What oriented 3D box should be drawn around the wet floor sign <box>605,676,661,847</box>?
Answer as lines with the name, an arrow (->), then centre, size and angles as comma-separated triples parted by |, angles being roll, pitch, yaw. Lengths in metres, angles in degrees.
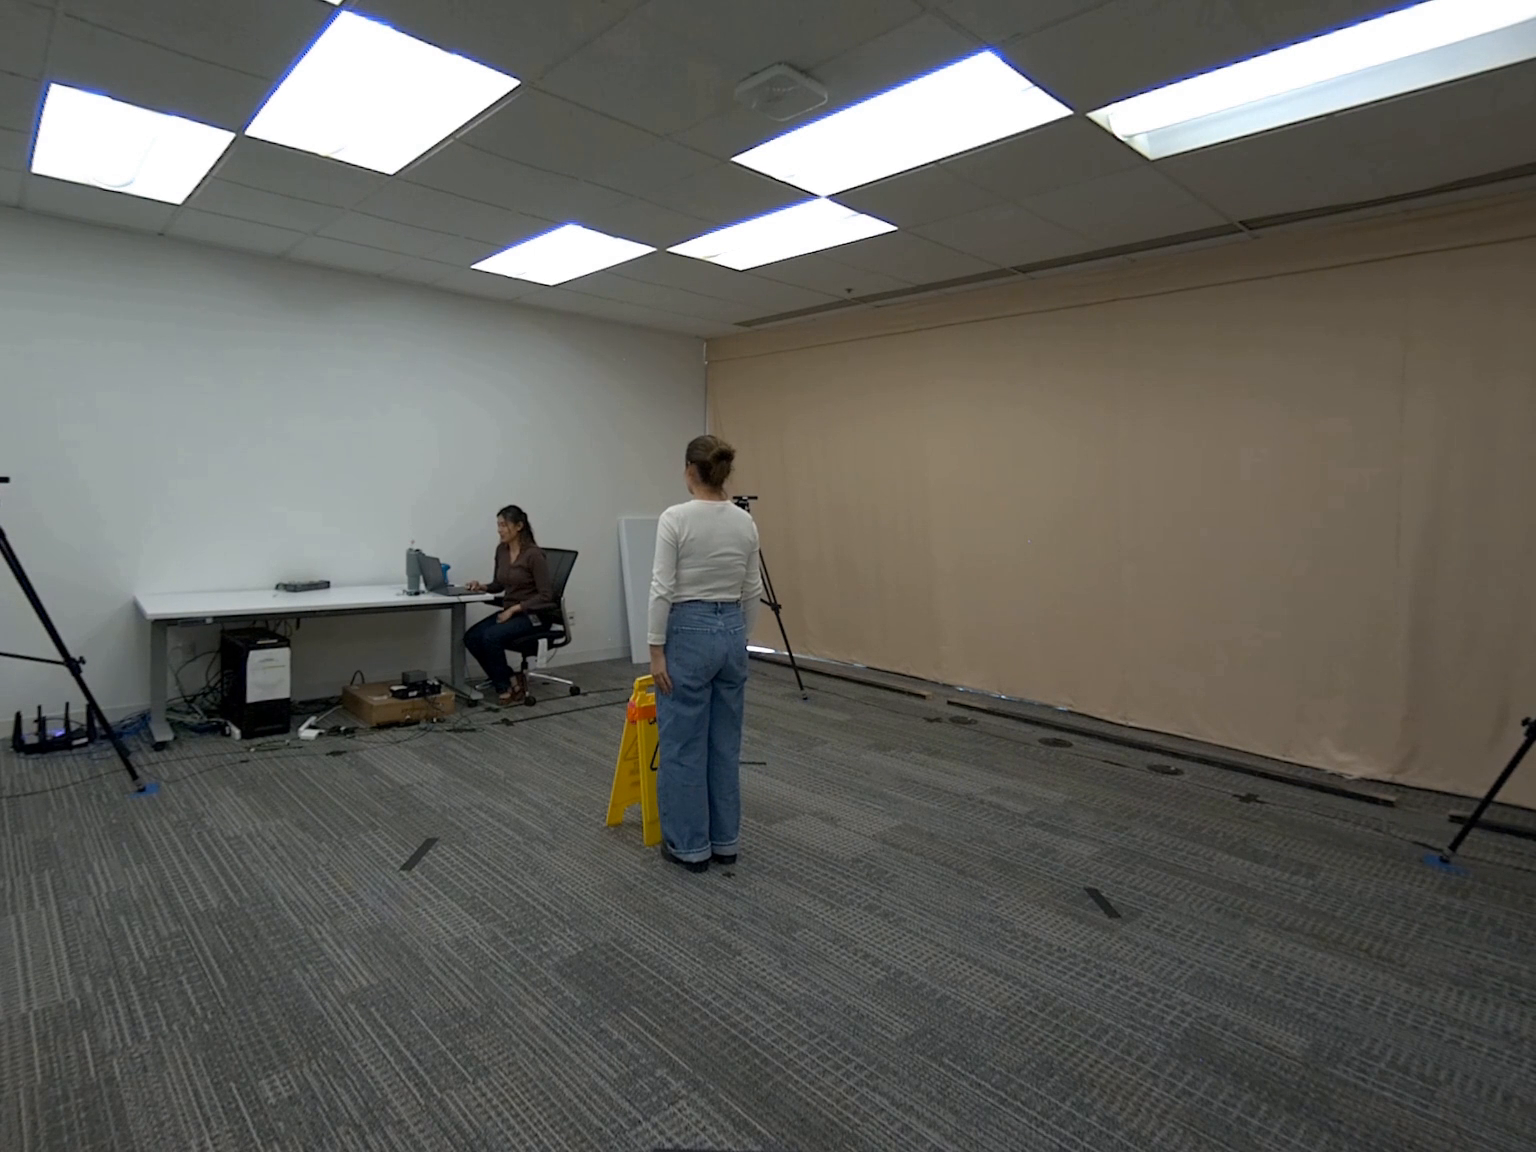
wet floor sign -> -0.485, 0.734, 3.510 | 0.275, 0.645, 0.297 | 0, 2, -44
